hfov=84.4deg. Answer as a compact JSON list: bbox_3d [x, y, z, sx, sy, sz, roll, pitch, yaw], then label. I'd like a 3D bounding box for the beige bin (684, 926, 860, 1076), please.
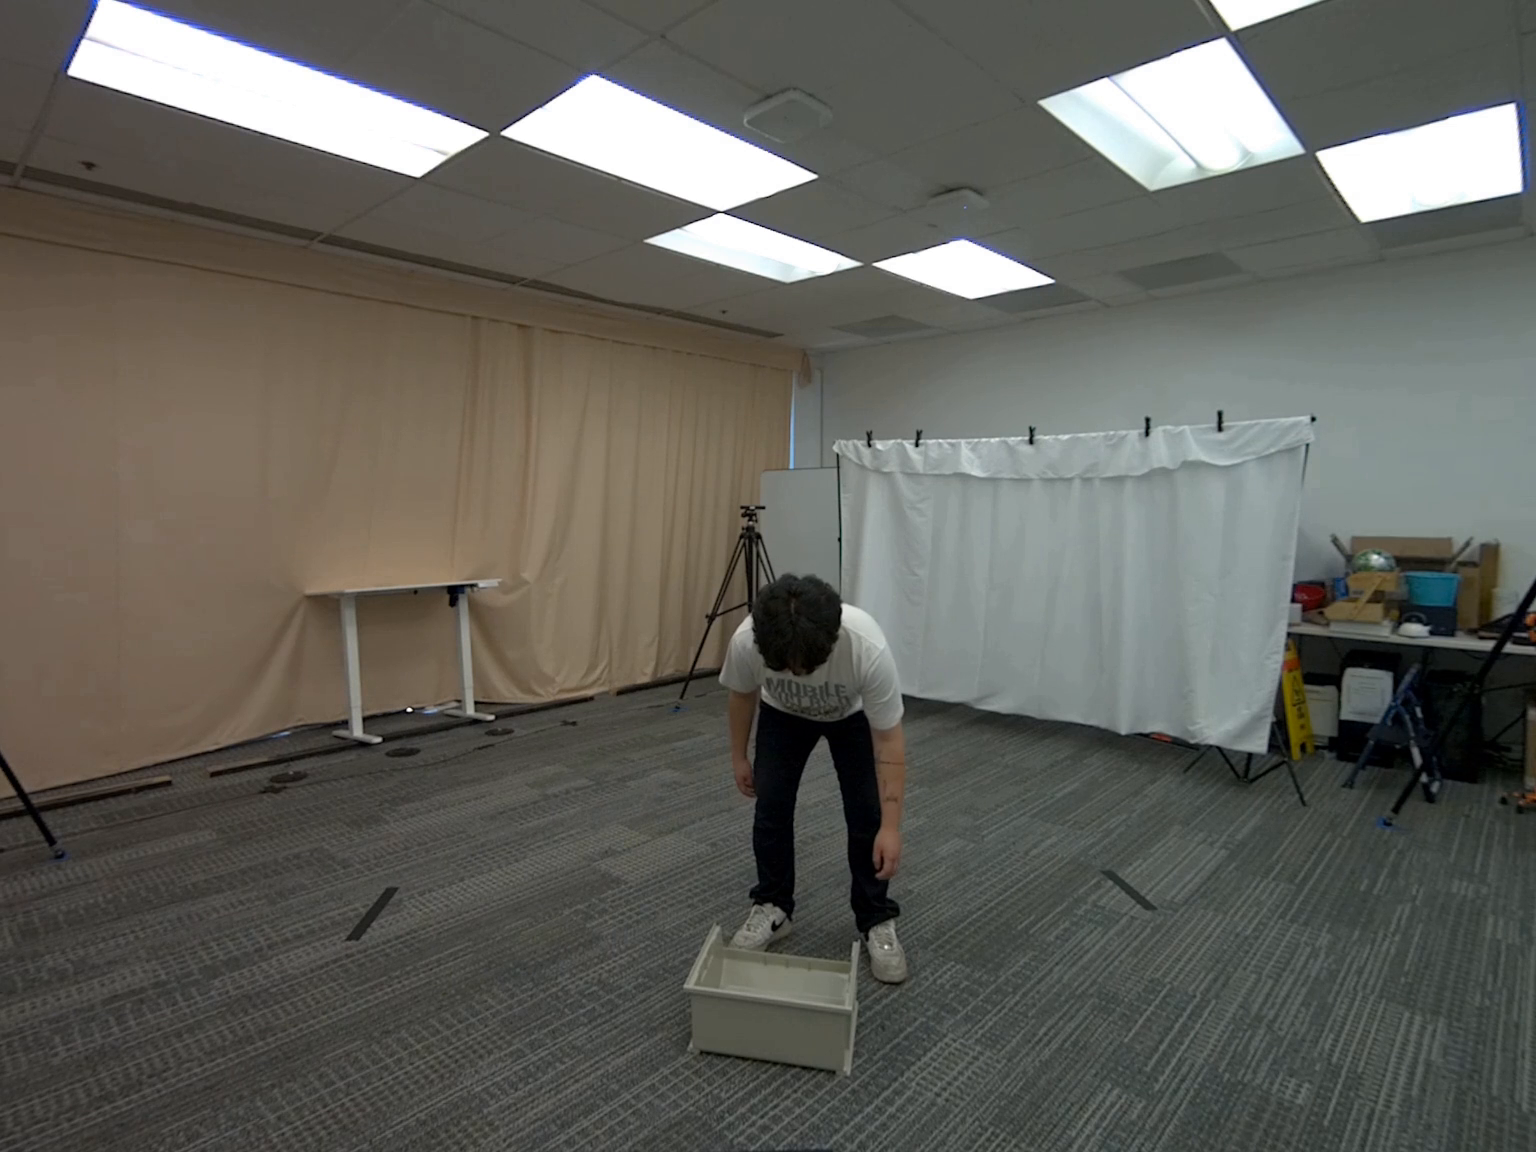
[{"bbox_3d":[0.028,1.115,2.263,0.428,0.188,0.373,2,5,11],"label":"beige bin"}]
